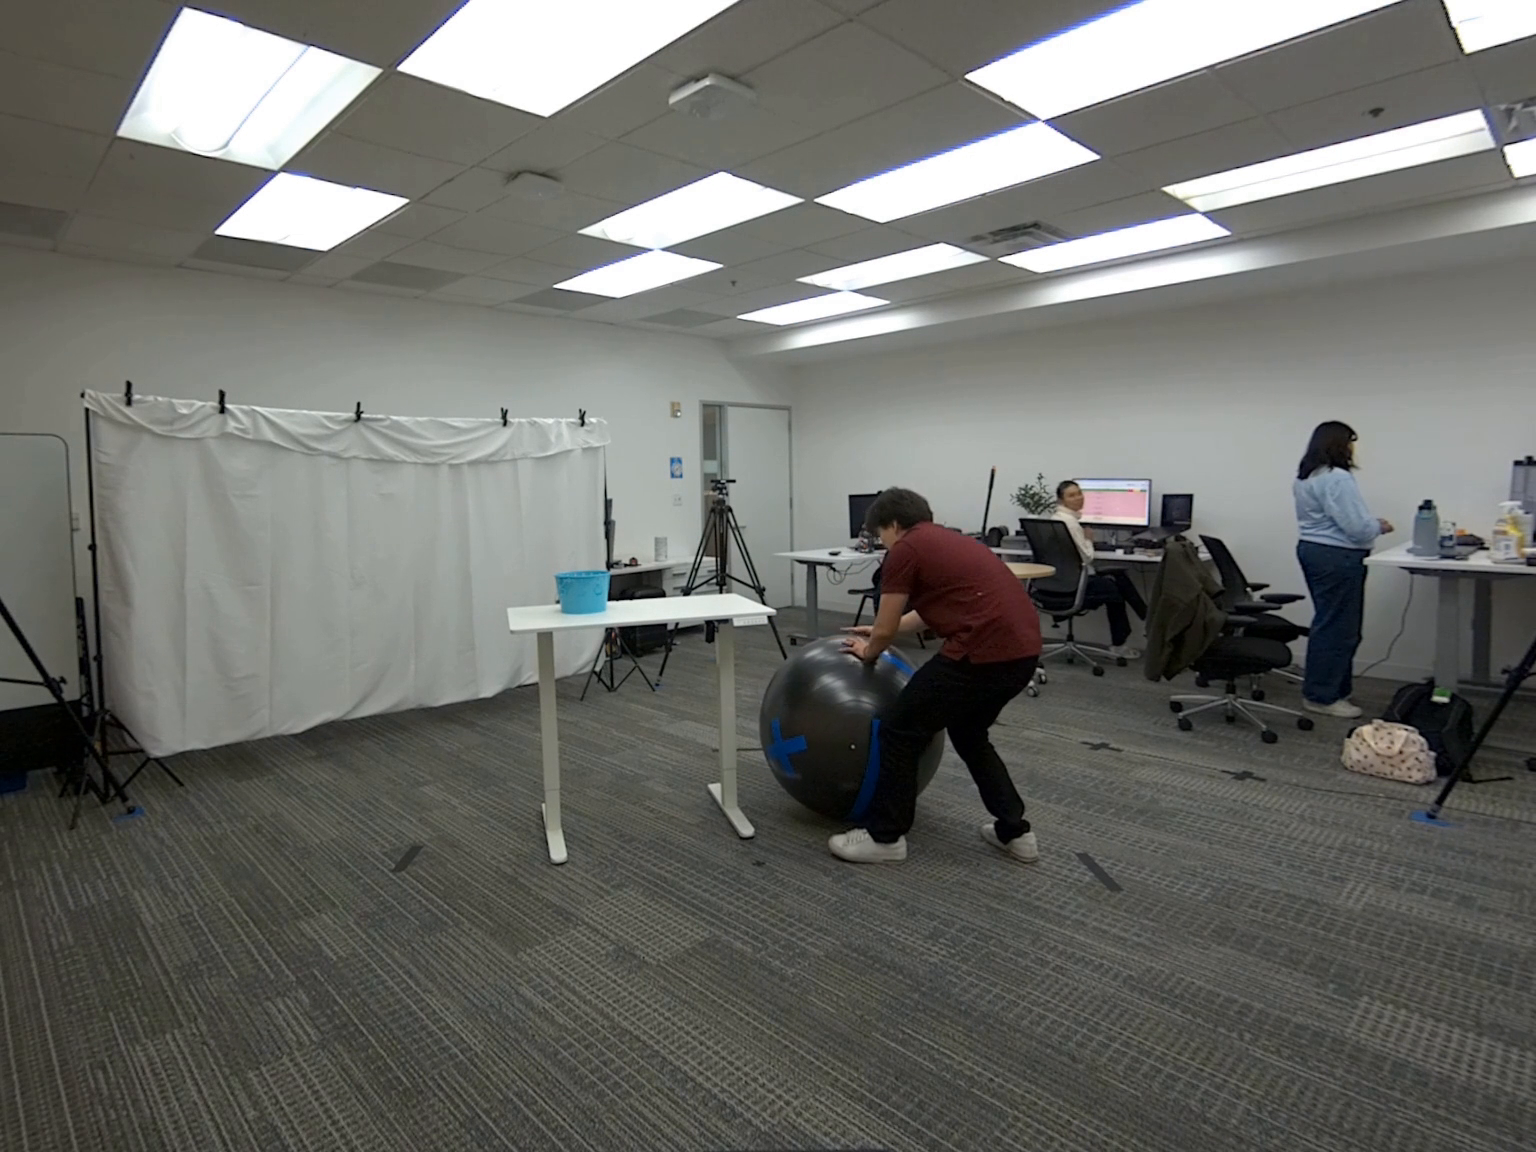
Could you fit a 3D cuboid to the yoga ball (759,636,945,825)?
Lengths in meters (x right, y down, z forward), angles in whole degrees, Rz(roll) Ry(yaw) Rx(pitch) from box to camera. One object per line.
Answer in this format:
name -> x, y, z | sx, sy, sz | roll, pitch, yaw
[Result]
yoga ball -> 0.347, 0.631, 3.578 | 0.757, 0.755, 0.762 | -1, 5, -2
